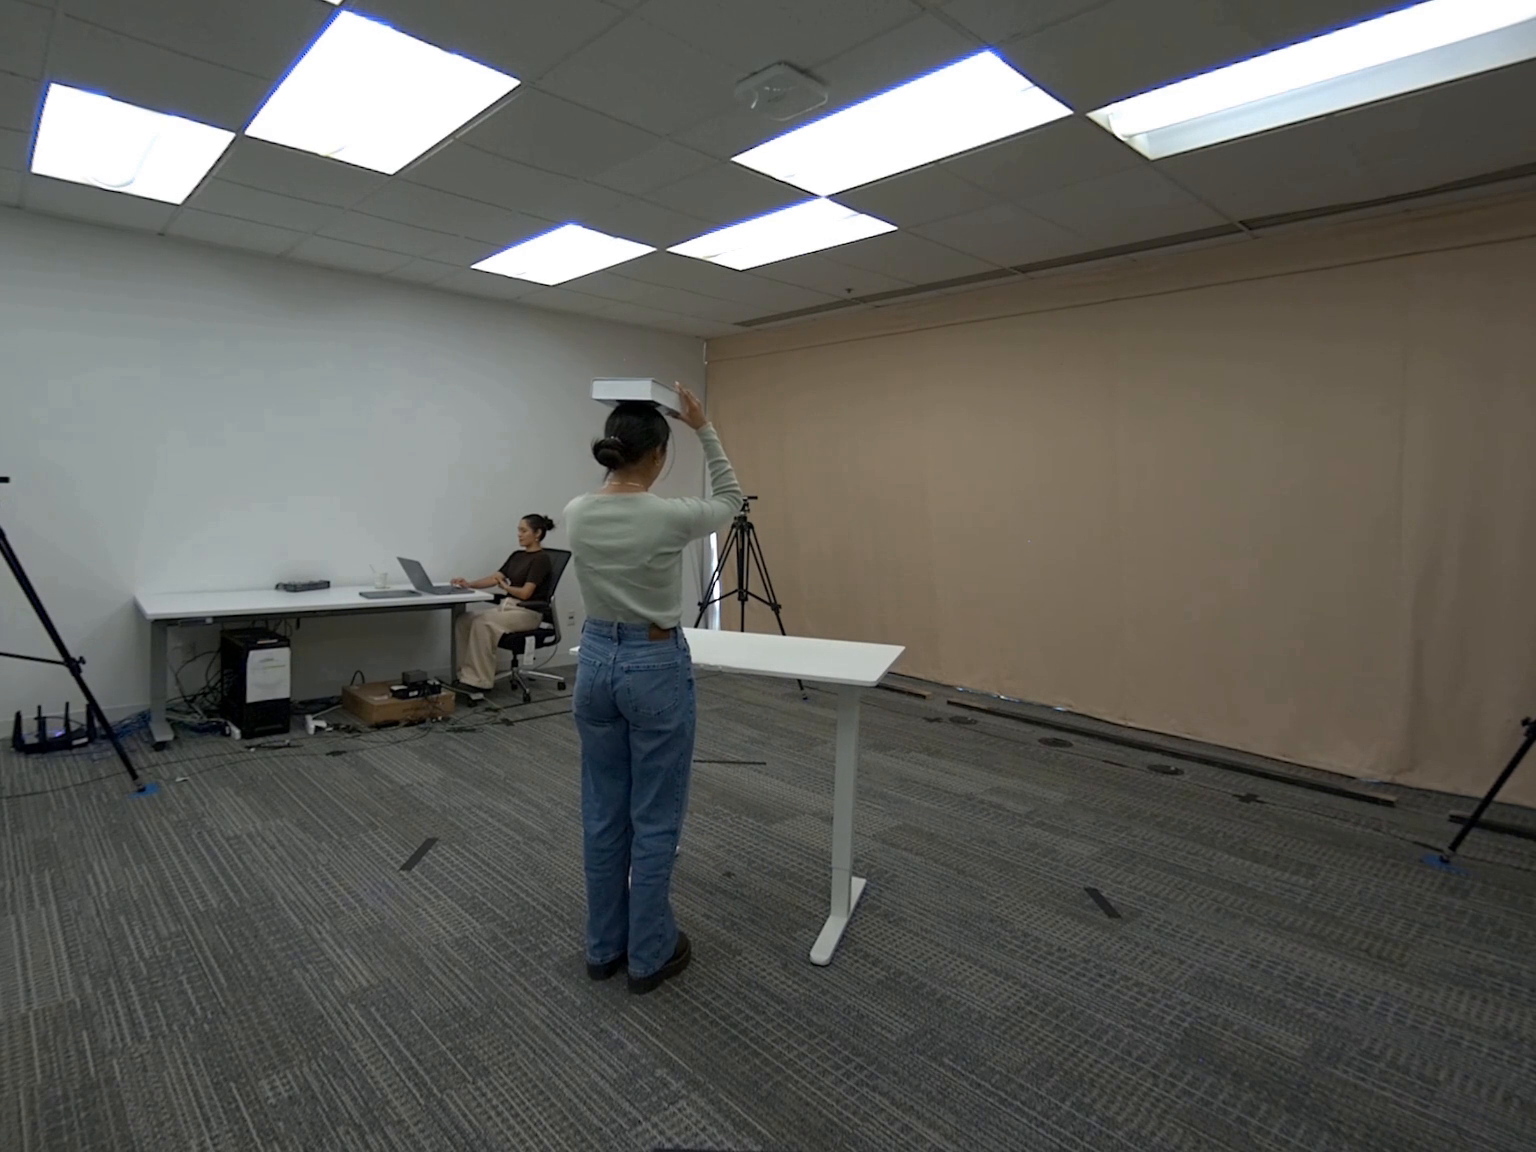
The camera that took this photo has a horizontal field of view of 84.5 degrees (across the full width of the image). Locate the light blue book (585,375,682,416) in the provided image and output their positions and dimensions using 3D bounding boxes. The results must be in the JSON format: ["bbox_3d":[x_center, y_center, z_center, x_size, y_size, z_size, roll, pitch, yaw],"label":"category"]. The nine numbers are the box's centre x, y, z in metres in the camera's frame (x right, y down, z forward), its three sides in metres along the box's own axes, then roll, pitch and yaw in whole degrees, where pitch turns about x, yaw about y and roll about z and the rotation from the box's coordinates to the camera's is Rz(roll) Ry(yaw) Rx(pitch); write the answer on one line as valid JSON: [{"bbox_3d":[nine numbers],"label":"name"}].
[{"bbox_3d":[-0.360,-0.506,2.381,0.195,0.059,0.256,5,1,20],"label":"light blue book"}]
